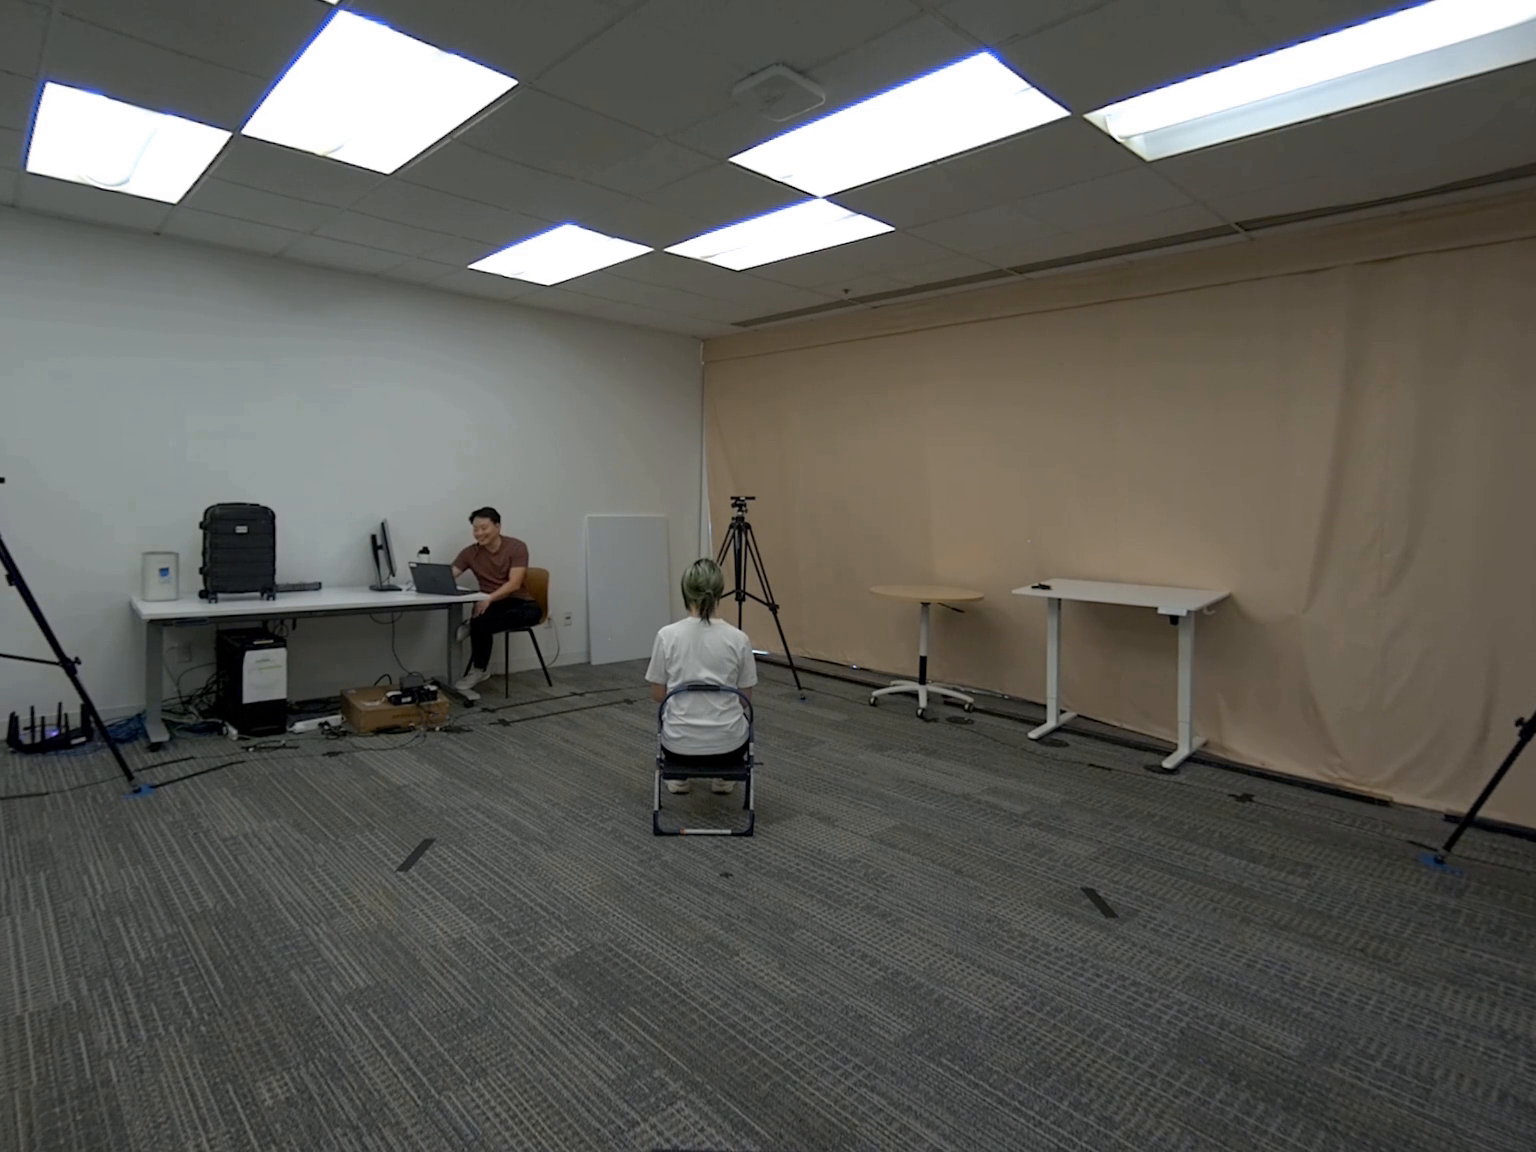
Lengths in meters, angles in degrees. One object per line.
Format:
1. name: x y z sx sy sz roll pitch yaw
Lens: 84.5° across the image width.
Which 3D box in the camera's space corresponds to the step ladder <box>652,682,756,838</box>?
1. step ladder: -0.286 0.761 3.612 0.429 0.605 0.351 1 2 -5
